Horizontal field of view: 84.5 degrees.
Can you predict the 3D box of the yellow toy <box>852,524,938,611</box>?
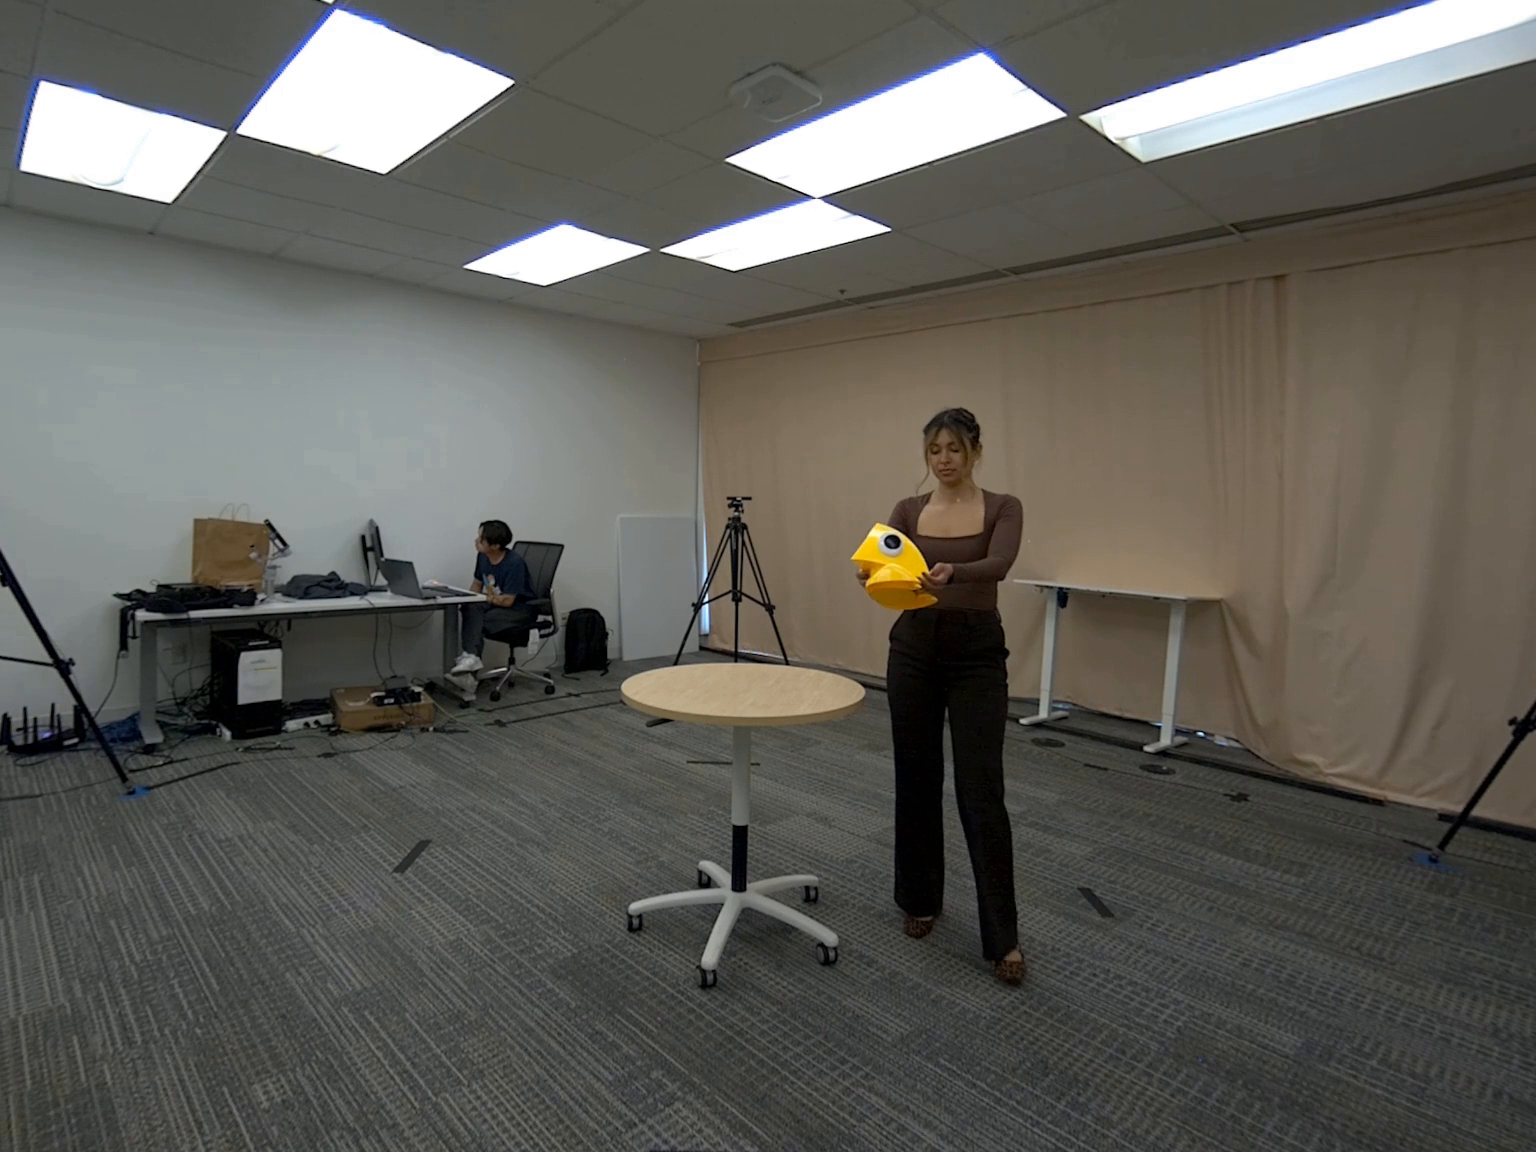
[{"bbox_3d":[0.344,-0.049,2.294,0.196,0.234,0.198,-9,-27,29],"label":"yellow toy"}]
